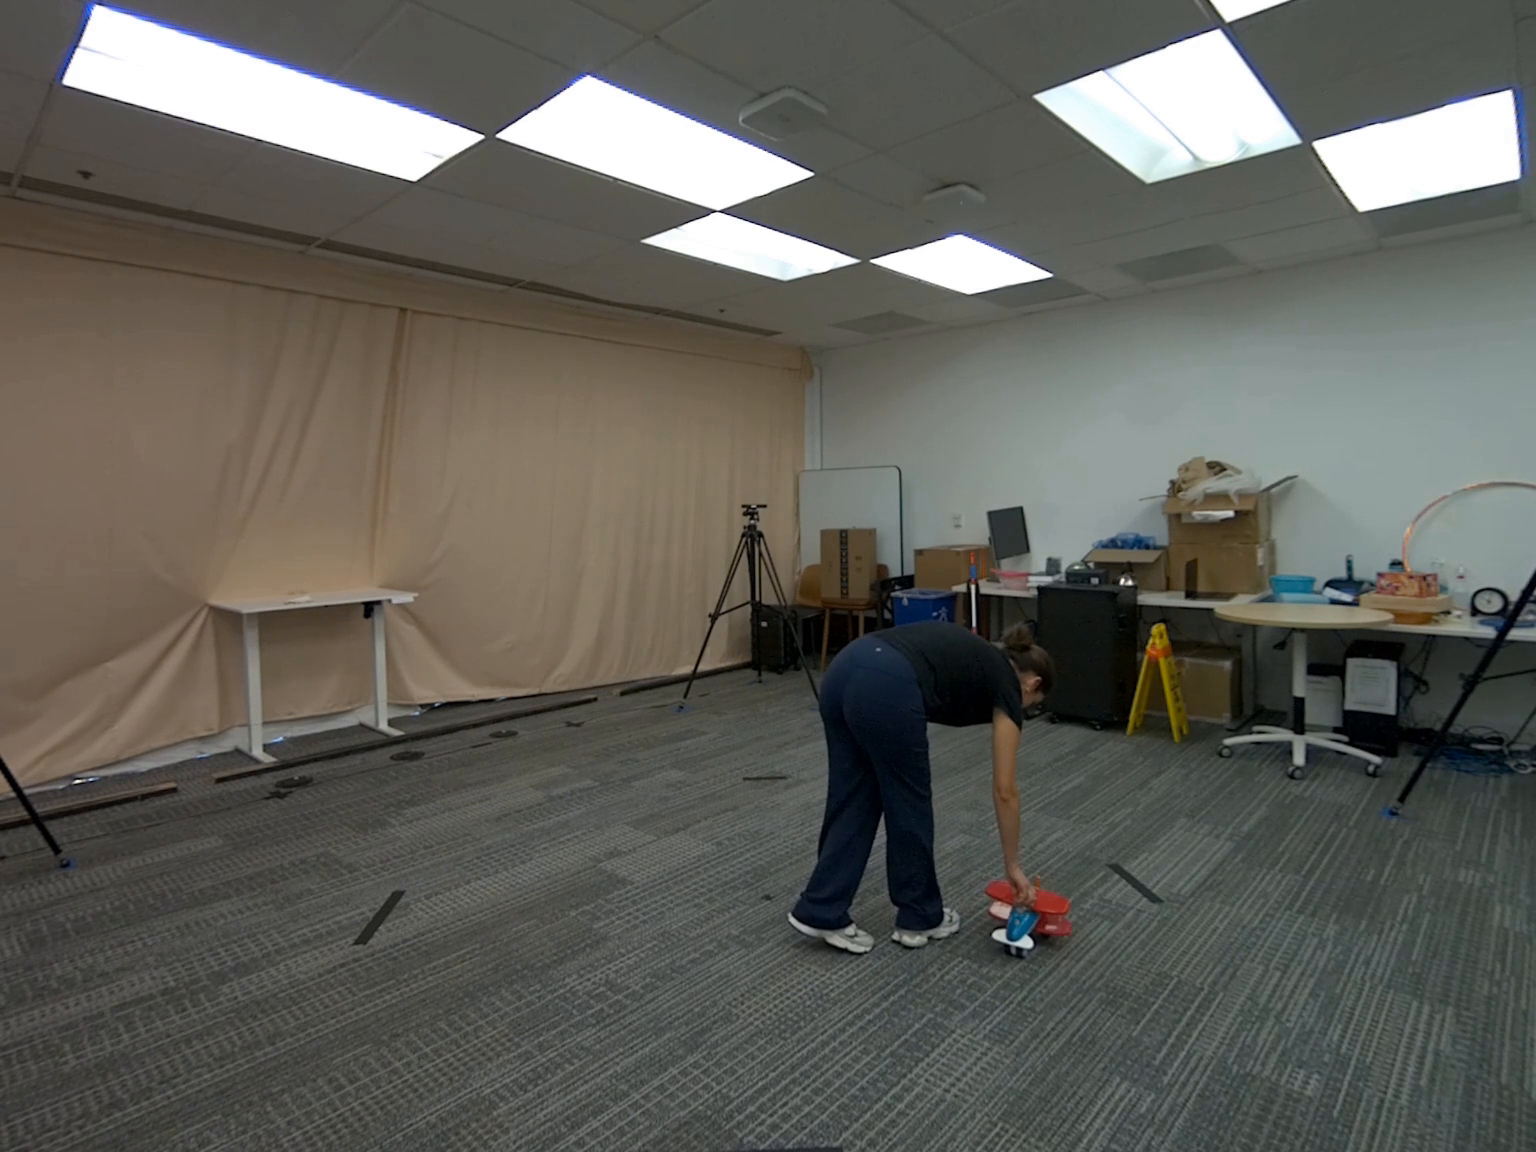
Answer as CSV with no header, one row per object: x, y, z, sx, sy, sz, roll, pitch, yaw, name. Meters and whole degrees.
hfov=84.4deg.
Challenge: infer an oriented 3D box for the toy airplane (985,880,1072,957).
0.845,1.083,2.638,0.253,0.156,0.257,-1,4,8,toy airplane
